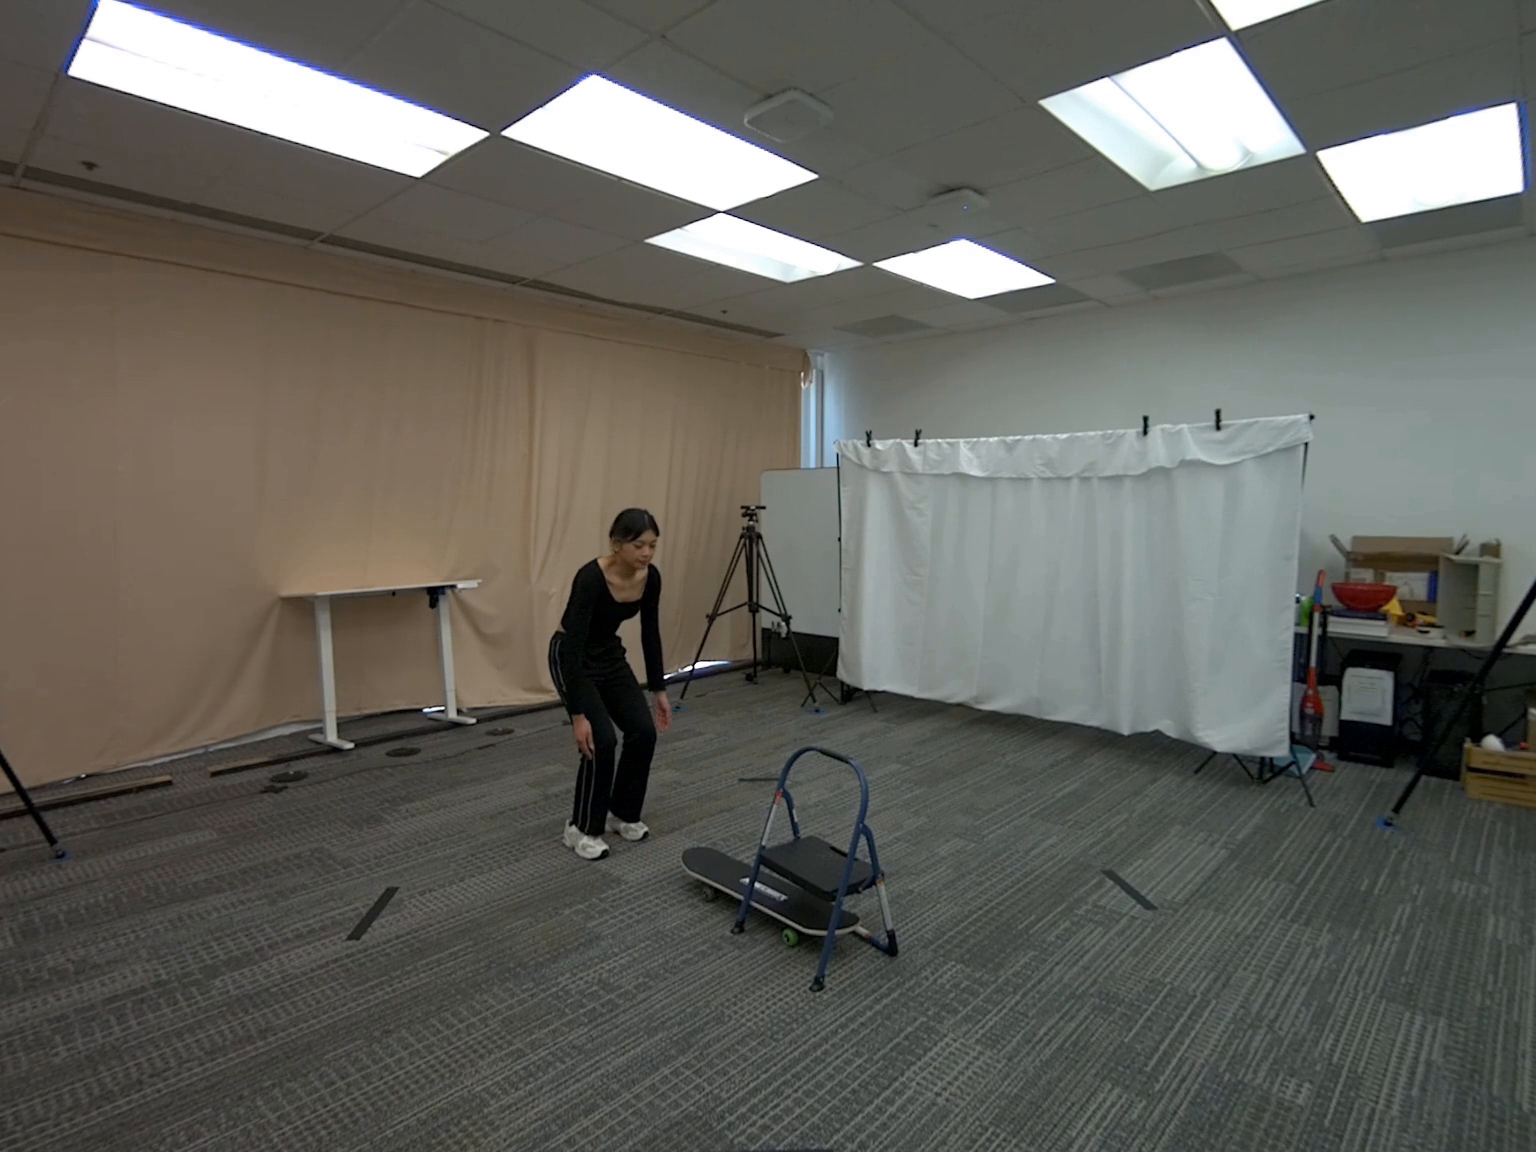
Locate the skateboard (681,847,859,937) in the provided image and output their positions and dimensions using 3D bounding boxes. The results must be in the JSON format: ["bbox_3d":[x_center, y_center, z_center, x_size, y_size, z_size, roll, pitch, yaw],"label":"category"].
[{"bbox_3d":[-0.014,1.093,2.867,0.187,0.110,0.812,-2,5,-43],"label":"skateboard"}]
